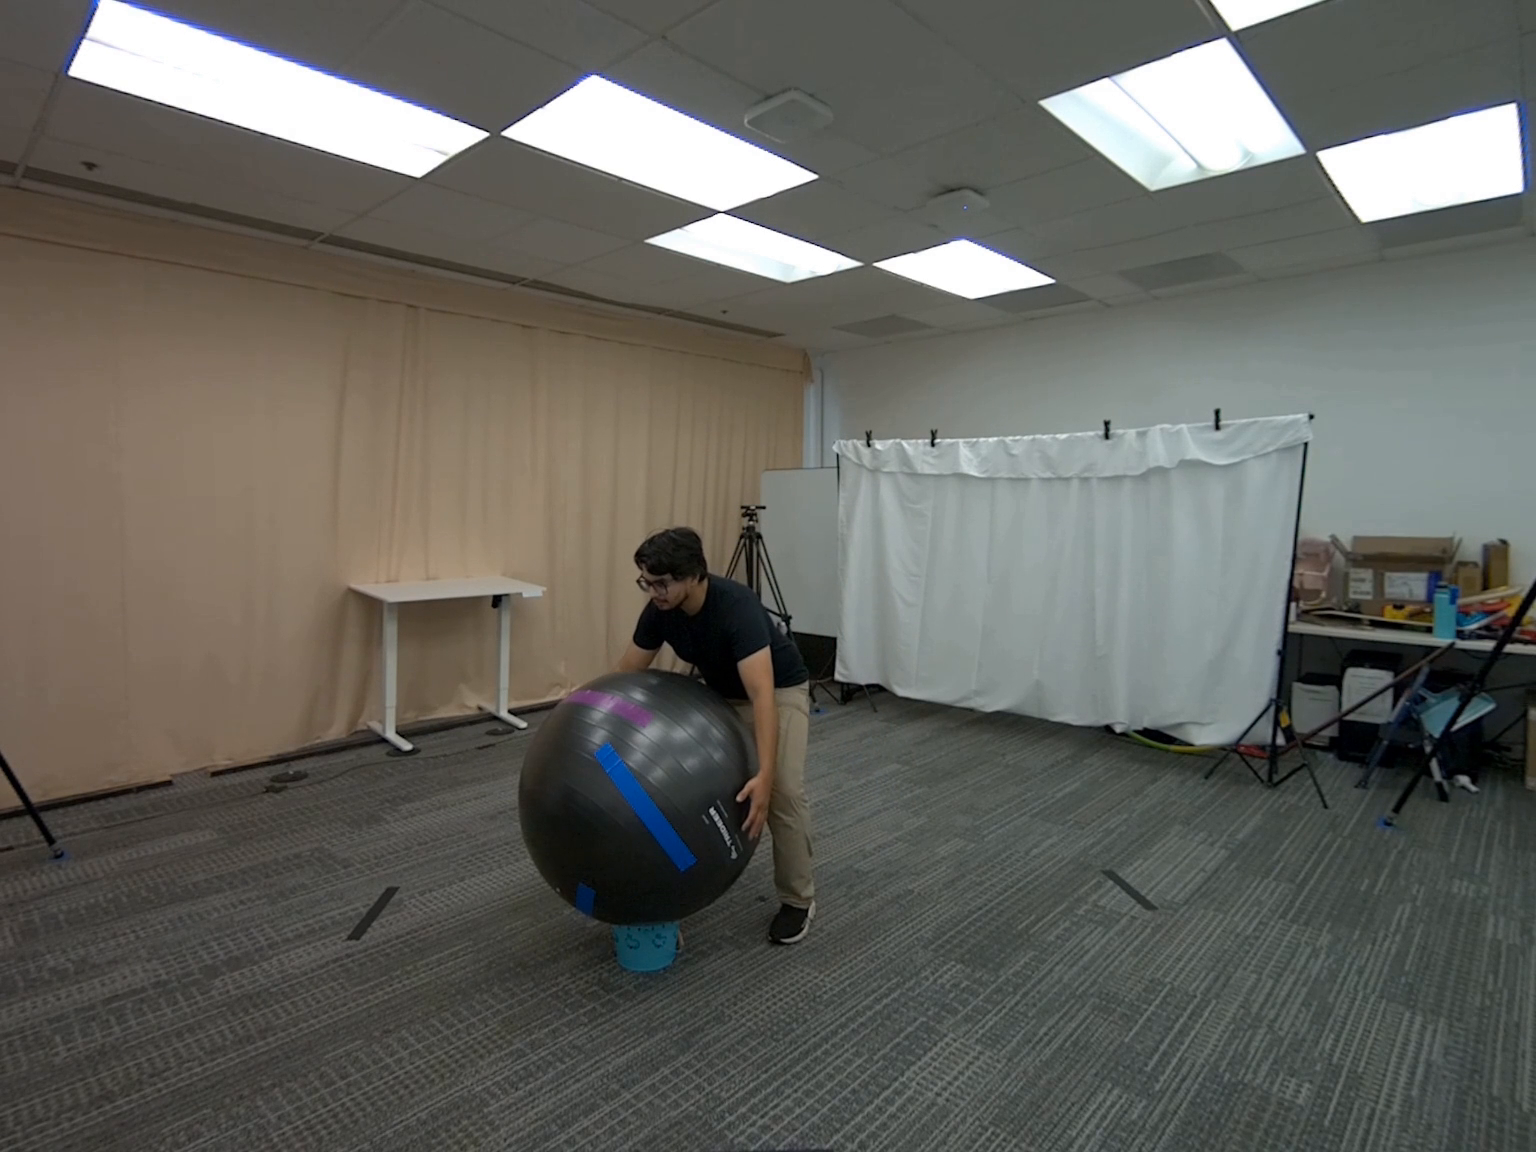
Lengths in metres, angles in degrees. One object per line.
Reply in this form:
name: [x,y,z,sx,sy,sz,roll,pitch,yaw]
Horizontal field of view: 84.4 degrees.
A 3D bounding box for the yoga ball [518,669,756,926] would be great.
yoga ball: [-0.390,0.674,2.590,0.757,0.756,0.760,0,4,-2]
